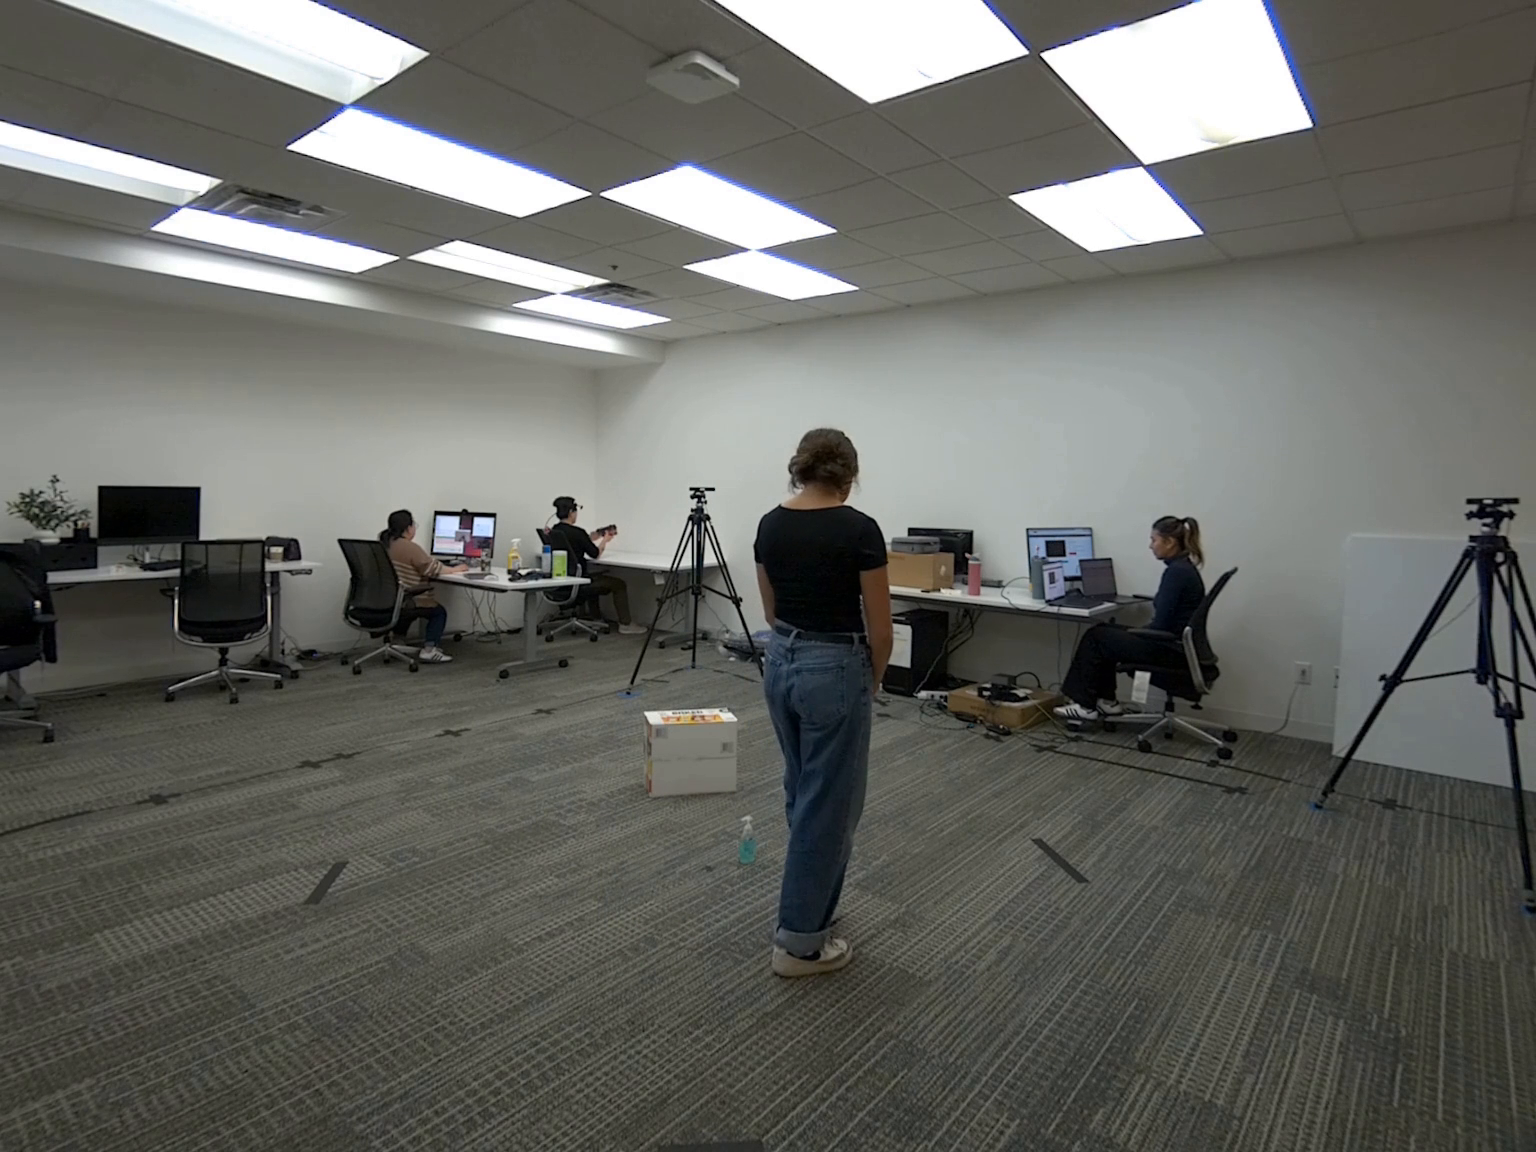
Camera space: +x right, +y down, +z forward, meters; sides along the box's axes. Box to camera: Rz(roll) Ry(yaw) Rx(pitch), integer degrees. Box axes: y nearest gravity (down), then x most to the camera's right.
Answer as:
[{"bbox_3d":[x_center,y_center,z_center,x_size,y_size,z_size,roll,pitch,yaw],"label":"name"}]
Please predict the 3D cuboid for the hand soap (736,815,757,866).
[{"bbox_3d":[-0.086,0.984,3.175,0.082,0.167,0.045,2,5,-41],"label":"hand soap"}]
